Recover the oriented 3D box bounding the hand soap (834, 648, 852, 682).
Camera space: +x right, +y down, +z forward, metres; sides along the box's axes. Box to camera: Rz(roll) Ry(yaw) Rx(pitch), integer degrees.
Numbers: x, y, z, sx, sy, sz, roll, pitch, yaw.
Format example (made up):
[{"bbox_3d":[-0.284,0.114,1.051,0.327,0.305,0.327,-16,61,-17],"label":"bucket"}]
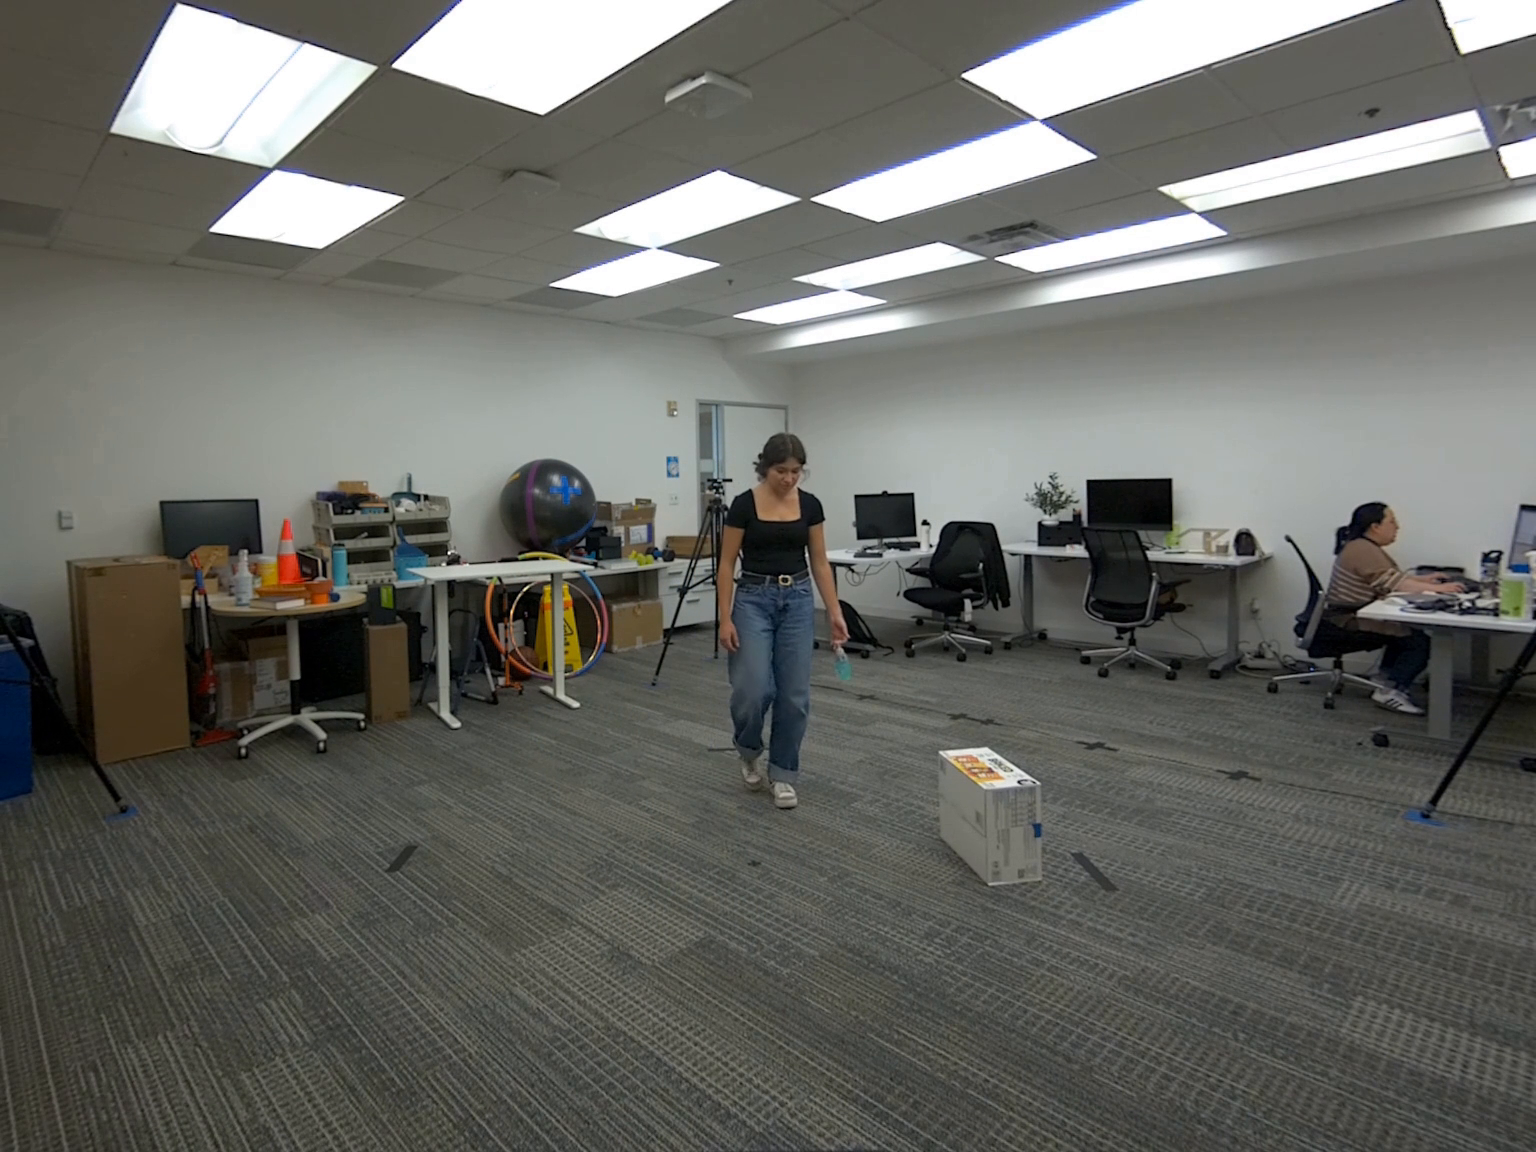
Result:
[{"bbox_3d":[0.303,0.356,3.594,0.042,0.168,0.086,-9,0,-41],"label":"hand soap"}]
